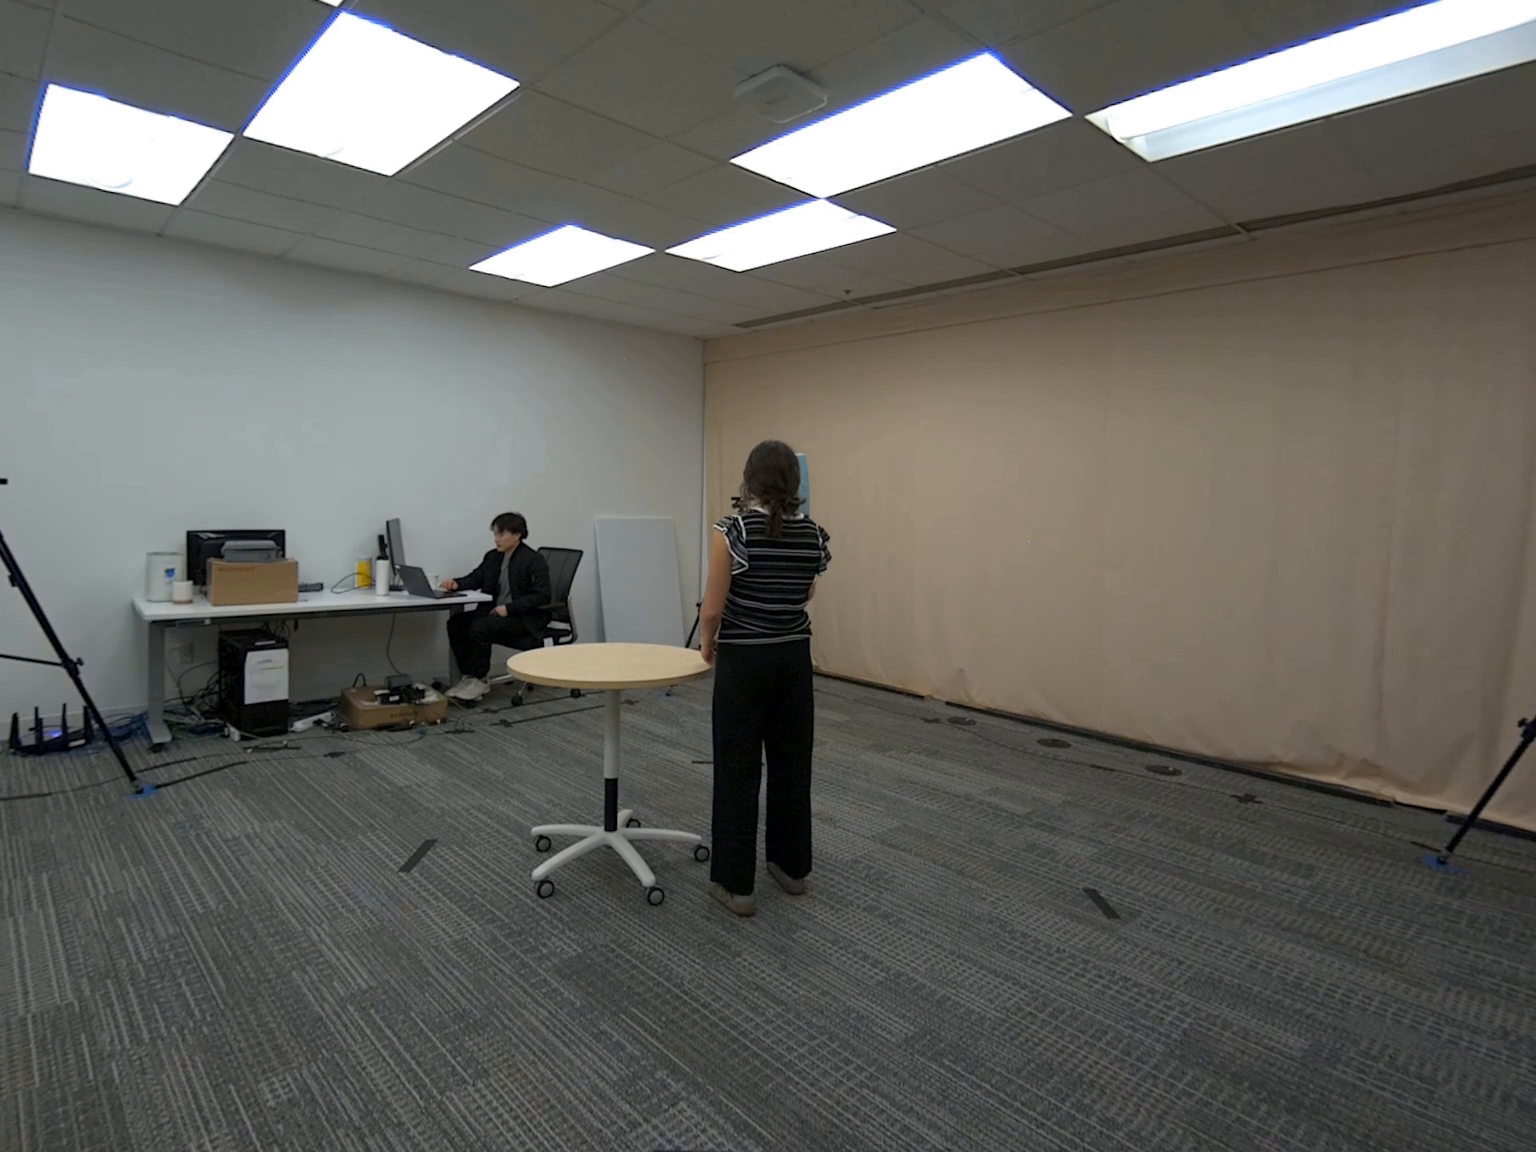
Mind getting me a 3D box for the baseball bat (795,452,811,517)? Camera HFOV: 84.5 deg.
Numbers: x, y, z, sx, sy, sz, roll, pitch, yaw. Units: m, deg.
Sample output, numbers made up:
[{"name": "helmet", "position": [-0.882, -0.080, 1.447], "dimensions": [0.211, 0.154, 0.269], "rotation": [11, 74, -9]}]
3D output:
[{"name": "baseball bat", "position": [0.126, -0.222, 3.407], "dimensions": [0.089, 0.542, 0.089], "rotation": [-2, 1, -1]}]
